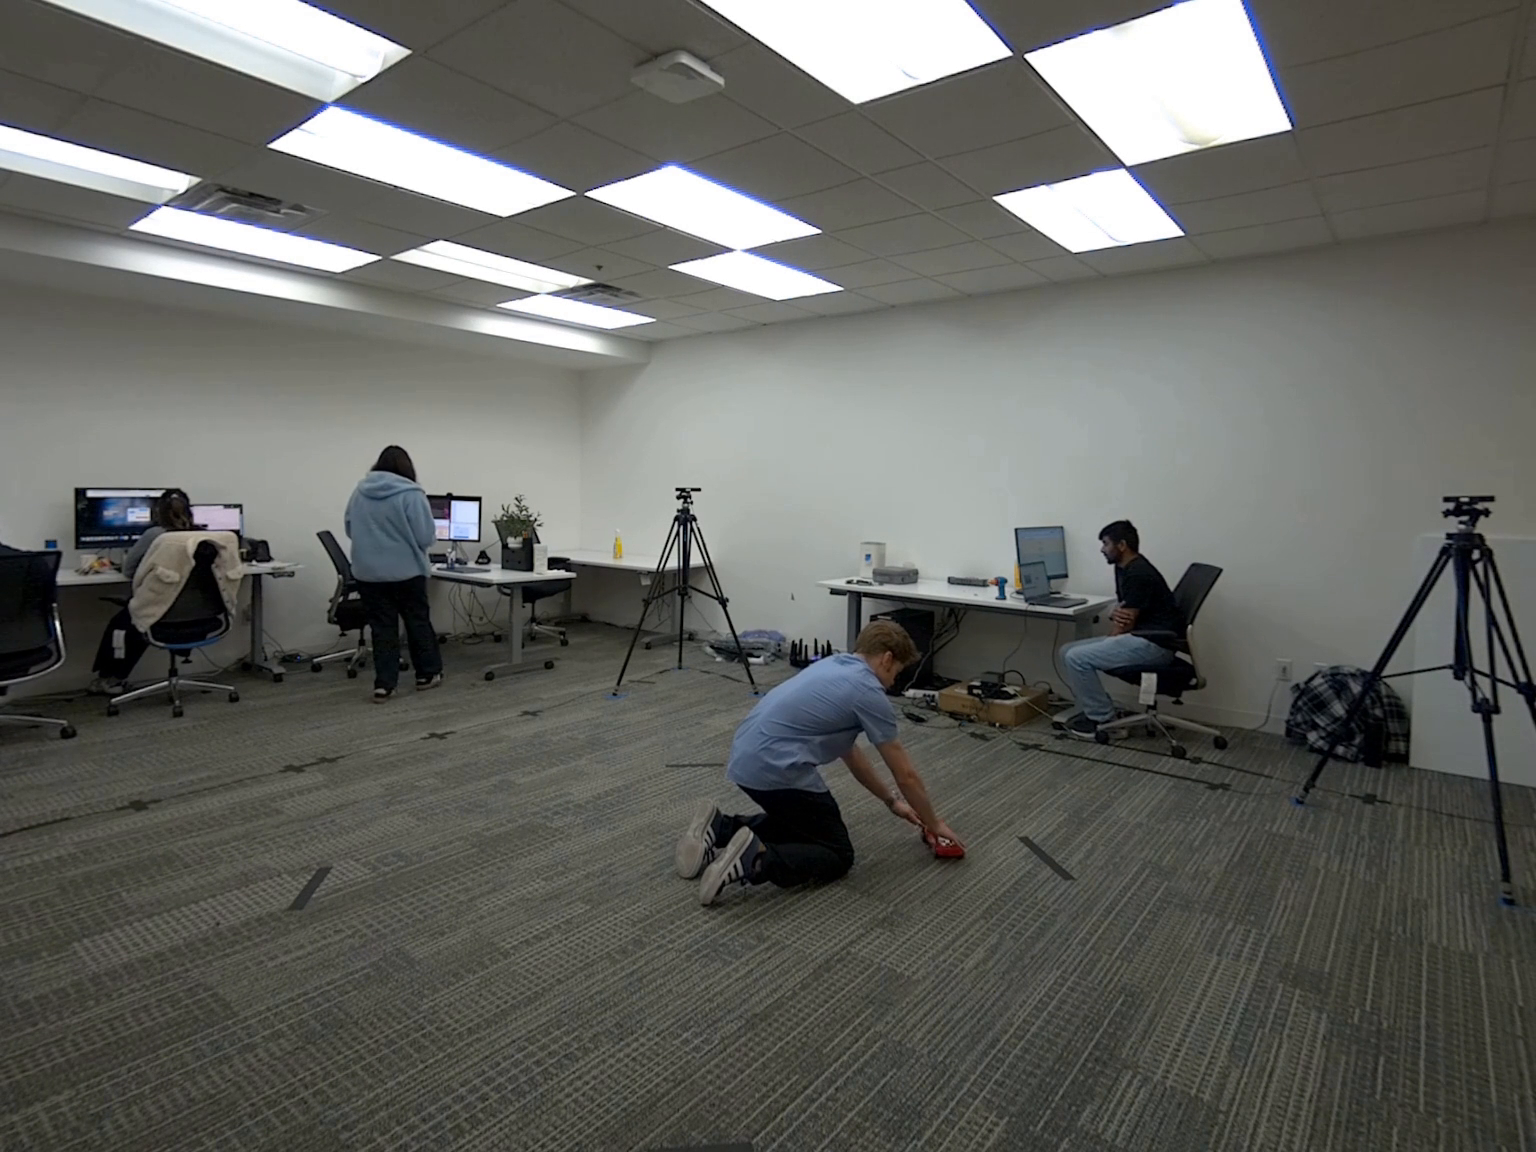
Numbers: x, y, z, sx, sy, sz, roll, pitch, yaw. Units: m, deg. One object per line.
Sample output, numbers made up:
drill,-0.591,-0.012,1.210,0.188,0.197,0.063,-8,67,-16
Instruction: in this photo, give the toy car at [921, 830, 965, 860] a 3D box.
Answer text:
toy car,0.666,1.035,3.346,0.130,0.082,0.259,0,16,-5
